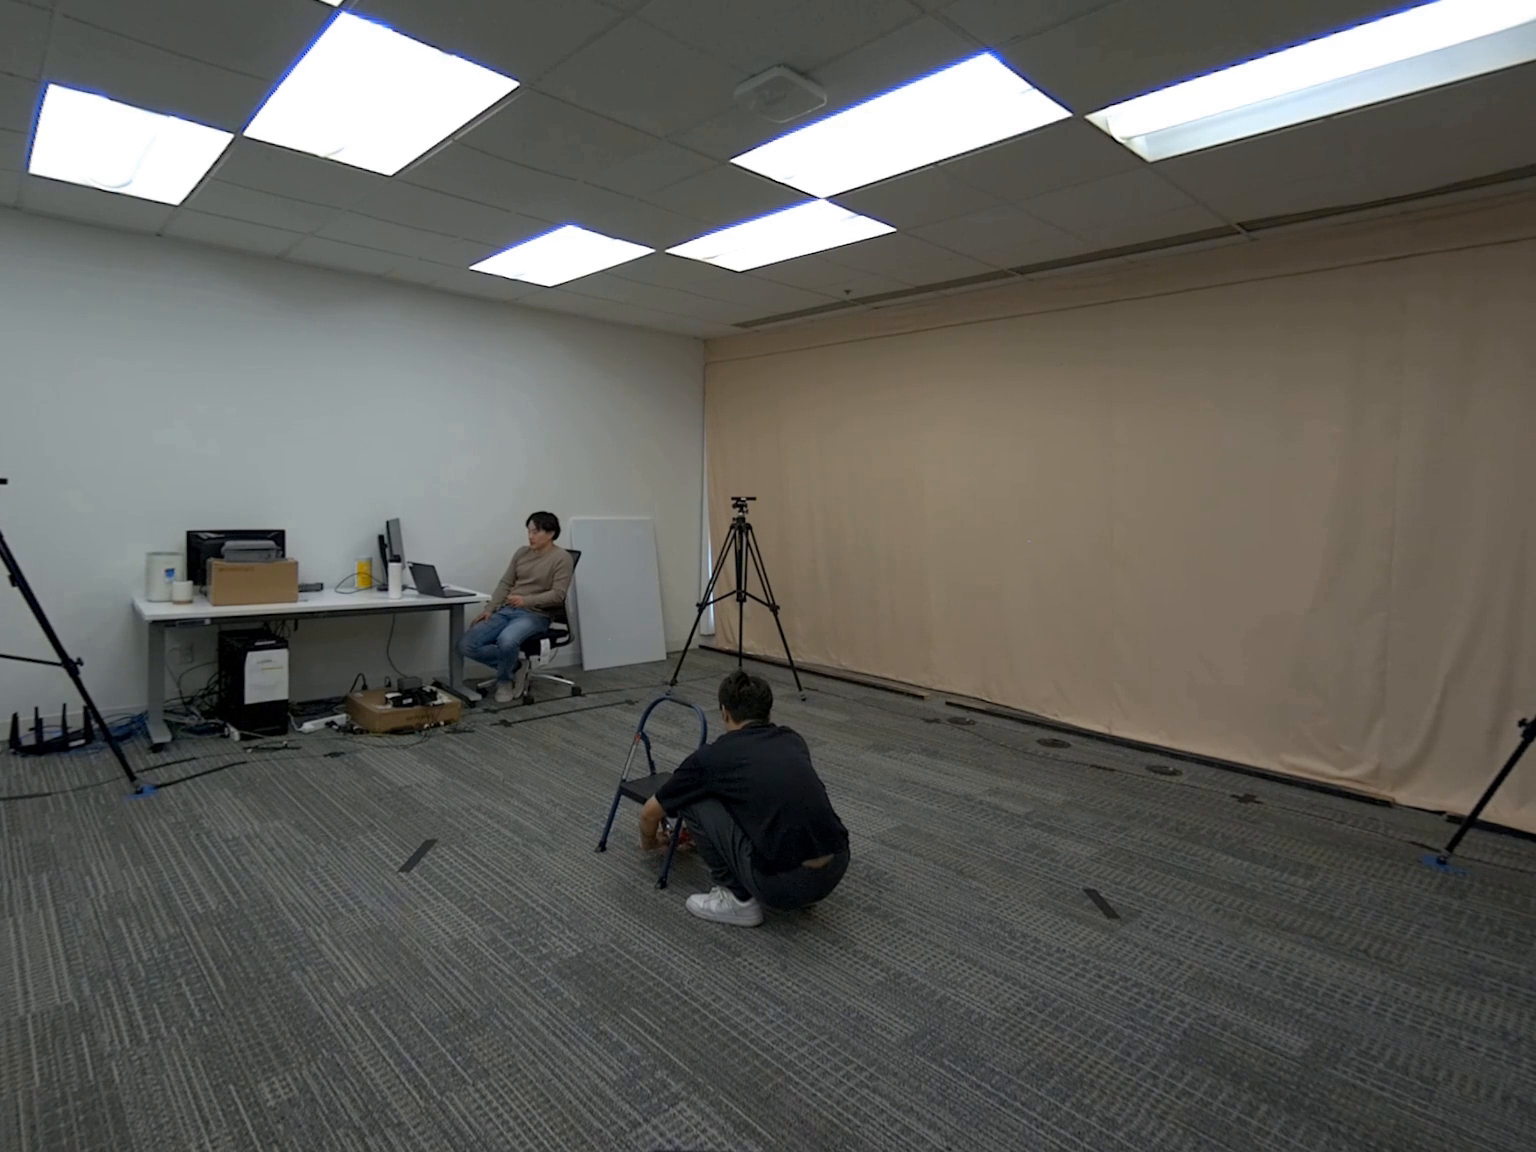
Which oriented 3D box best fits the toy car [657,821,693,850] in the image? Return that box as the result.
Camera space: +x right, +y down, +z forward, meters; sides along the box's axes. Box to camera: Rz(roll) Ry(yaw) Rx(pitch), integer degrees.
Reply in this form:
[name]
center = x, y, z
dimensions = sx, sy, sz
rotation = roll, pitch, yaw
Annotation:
[toy car]
center = -0.308, 1.020, 3.321
dimensions = 0.251, 0.083, 0.132
rotation = -15, 5, -27
